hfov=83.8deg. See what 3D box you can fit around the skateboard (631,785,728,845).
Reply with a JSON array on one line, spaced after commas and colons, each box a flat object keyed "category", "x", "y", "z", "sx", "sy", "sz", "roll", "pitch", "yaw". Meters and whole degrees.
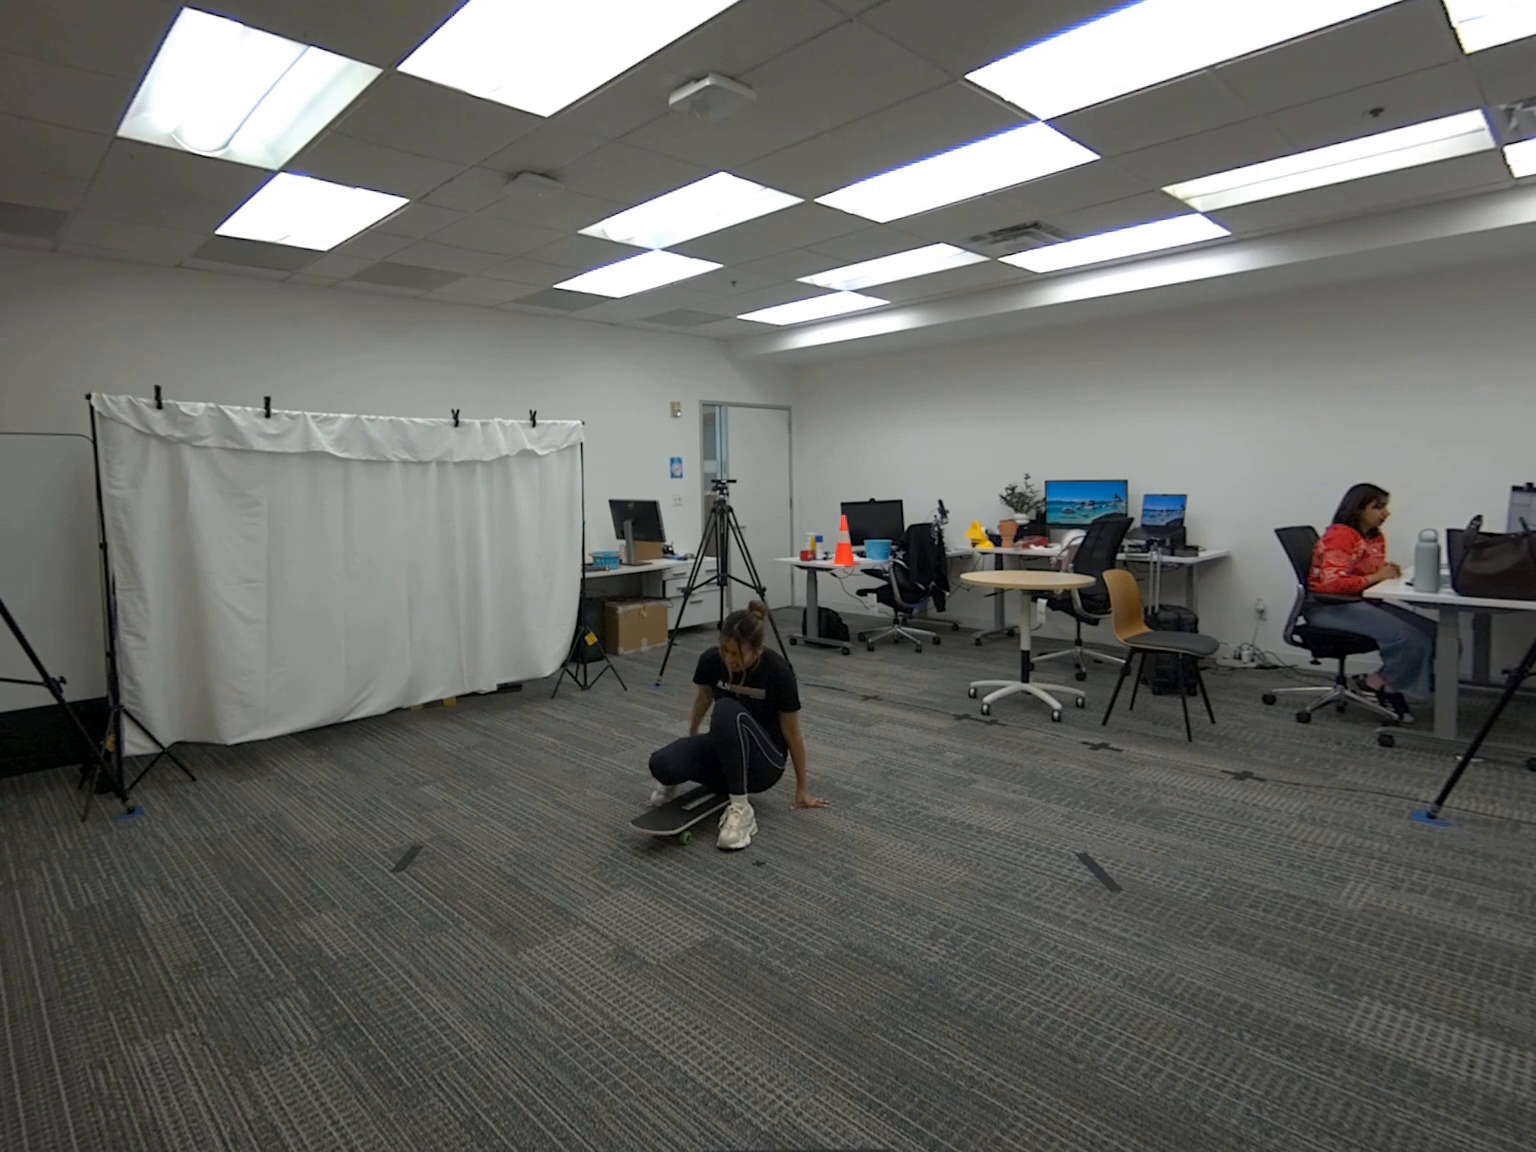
[{"category": "skateboard", "x": -0.283, "y": 0.945, "z": 3.486, "sx": 0.199, "sy": 0.110, "sz": 0.768, "roll": 4, "pitch": 7, "yaw": 30}]
